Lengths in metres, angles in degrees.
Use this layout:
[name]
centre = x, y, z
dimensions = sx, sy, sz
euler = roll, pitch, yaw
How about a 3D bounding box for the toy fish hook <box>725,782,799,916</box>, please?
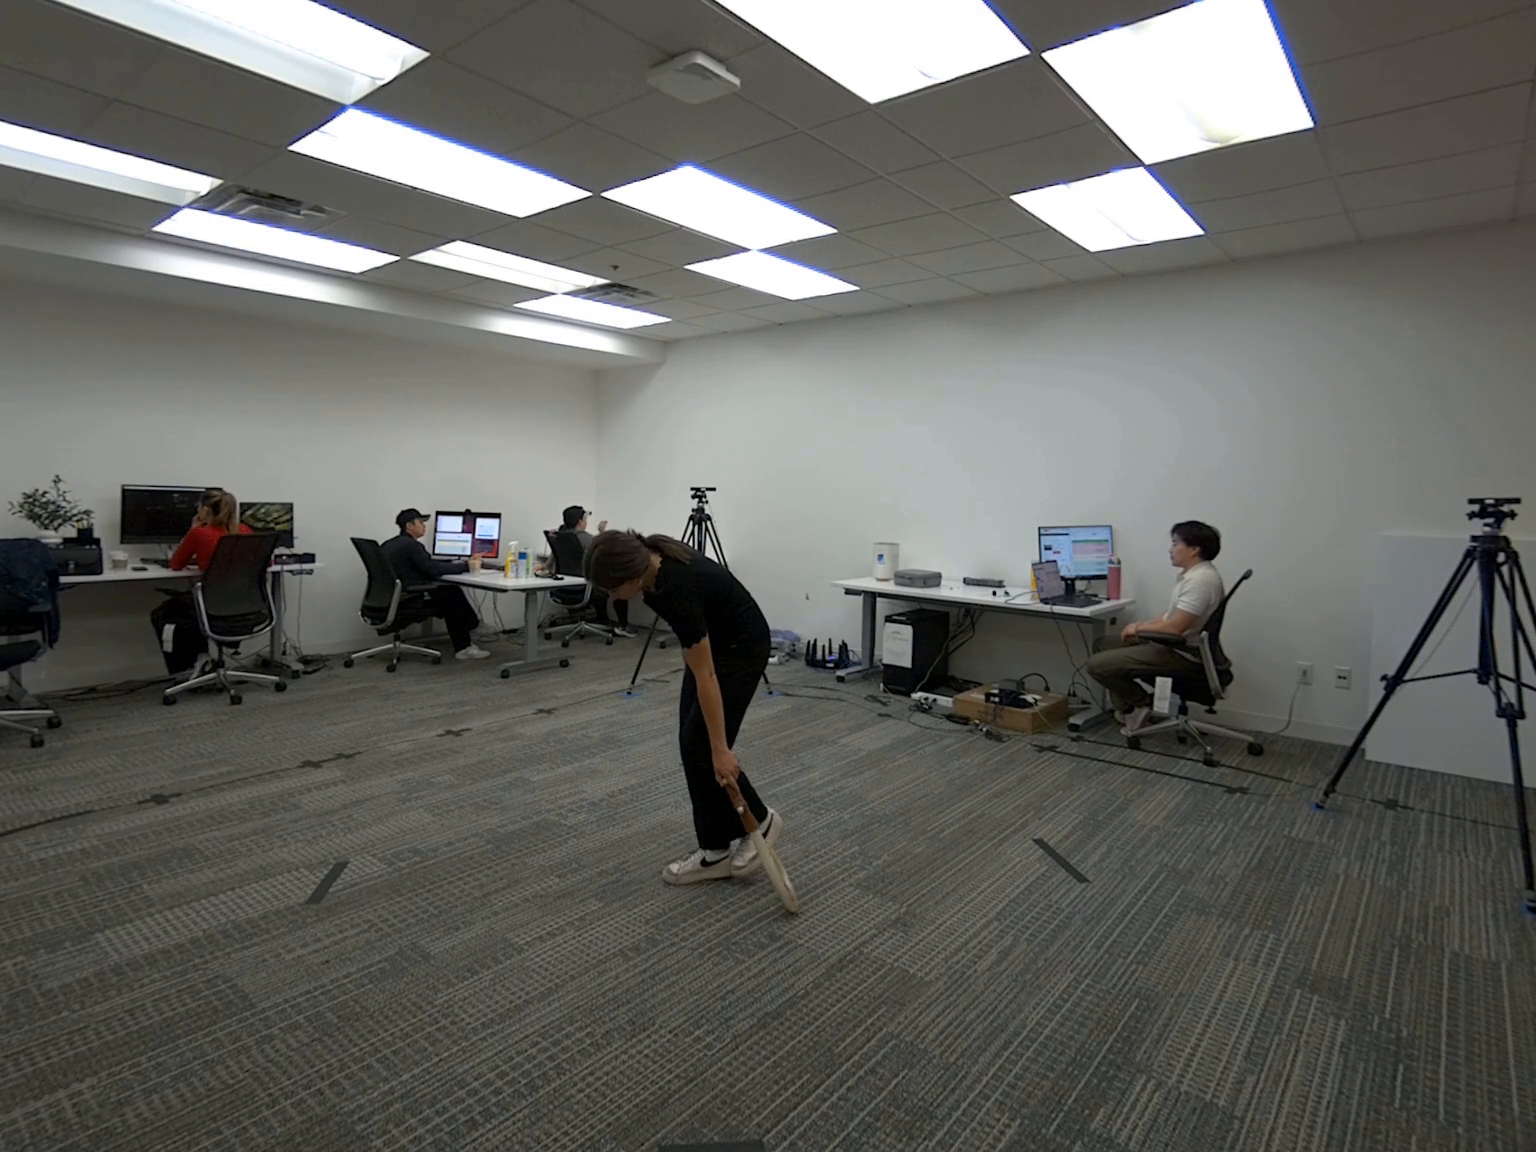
[toy fish hook]
centre = -0.033, 0.873, 2.836
dimensions = 0.048, 0.505, 0.225
euler = -26, 2, -2
